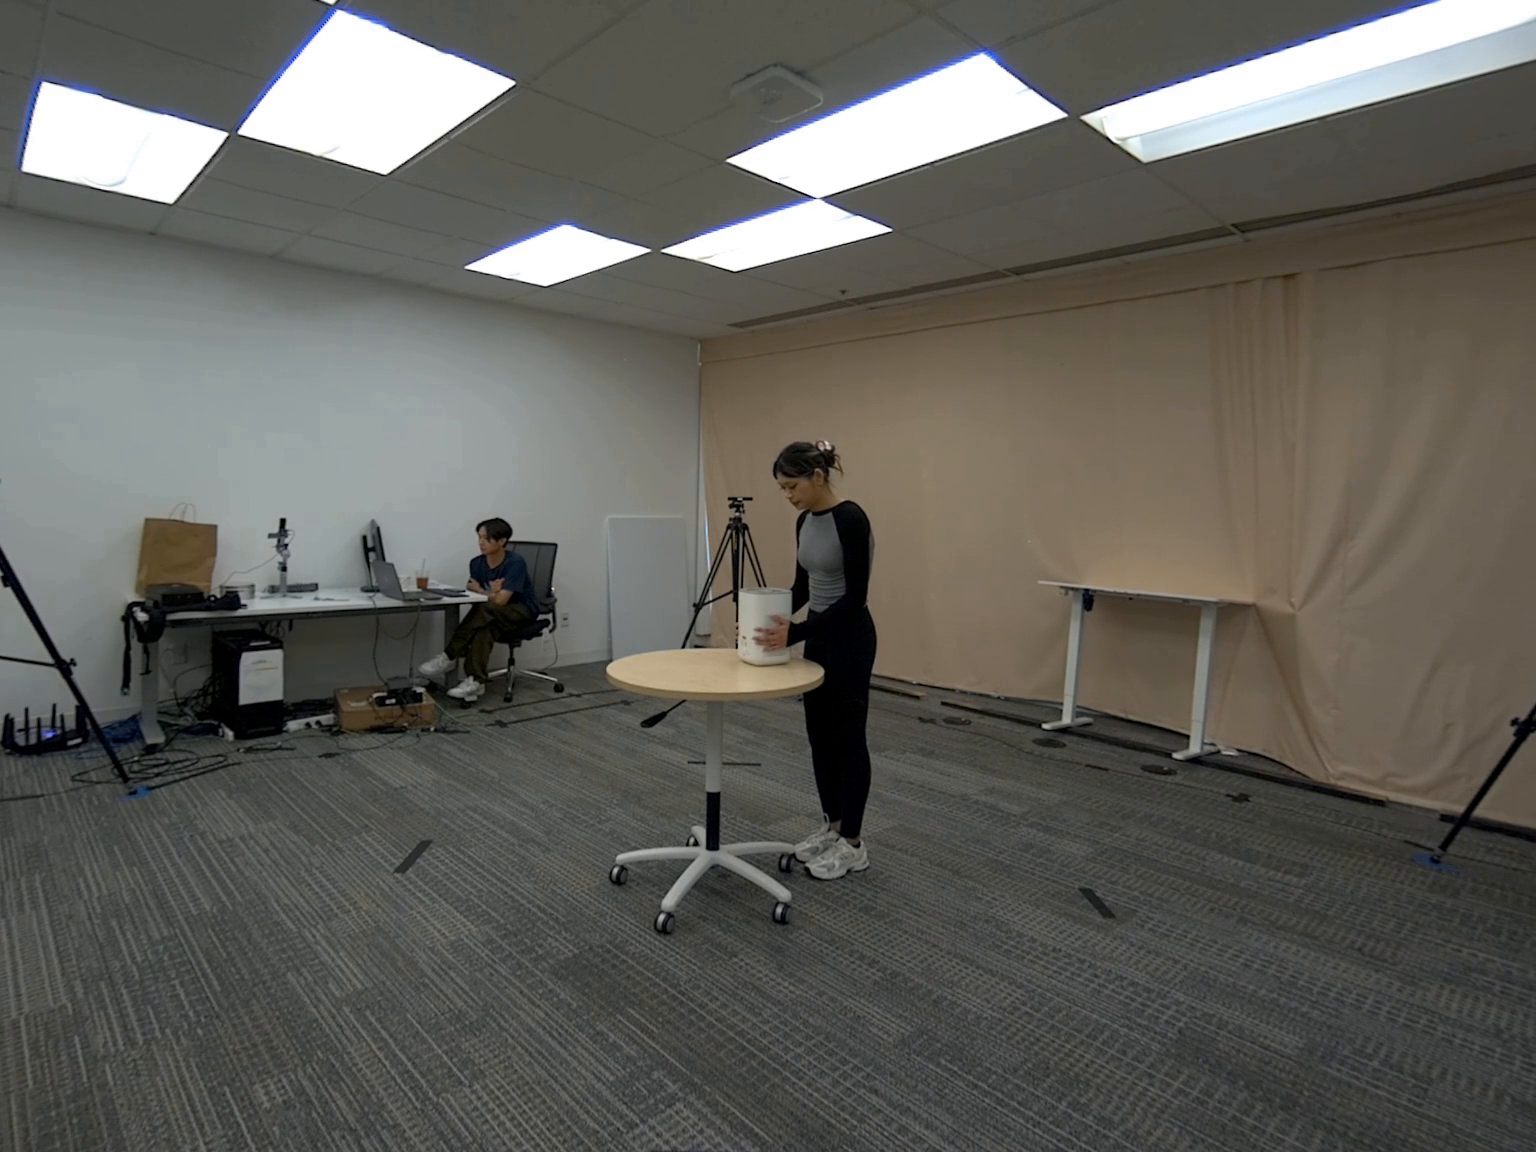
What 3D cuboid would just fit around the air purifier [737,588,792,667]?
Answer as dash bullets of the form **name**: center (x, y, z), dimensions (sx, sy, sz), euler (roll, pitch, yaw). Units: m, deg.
- **air purifier**: center (-0.016, 0.180, 3.087), dimensions (0.168, 0.265, 0.175), euler (-1, 3, -25)
